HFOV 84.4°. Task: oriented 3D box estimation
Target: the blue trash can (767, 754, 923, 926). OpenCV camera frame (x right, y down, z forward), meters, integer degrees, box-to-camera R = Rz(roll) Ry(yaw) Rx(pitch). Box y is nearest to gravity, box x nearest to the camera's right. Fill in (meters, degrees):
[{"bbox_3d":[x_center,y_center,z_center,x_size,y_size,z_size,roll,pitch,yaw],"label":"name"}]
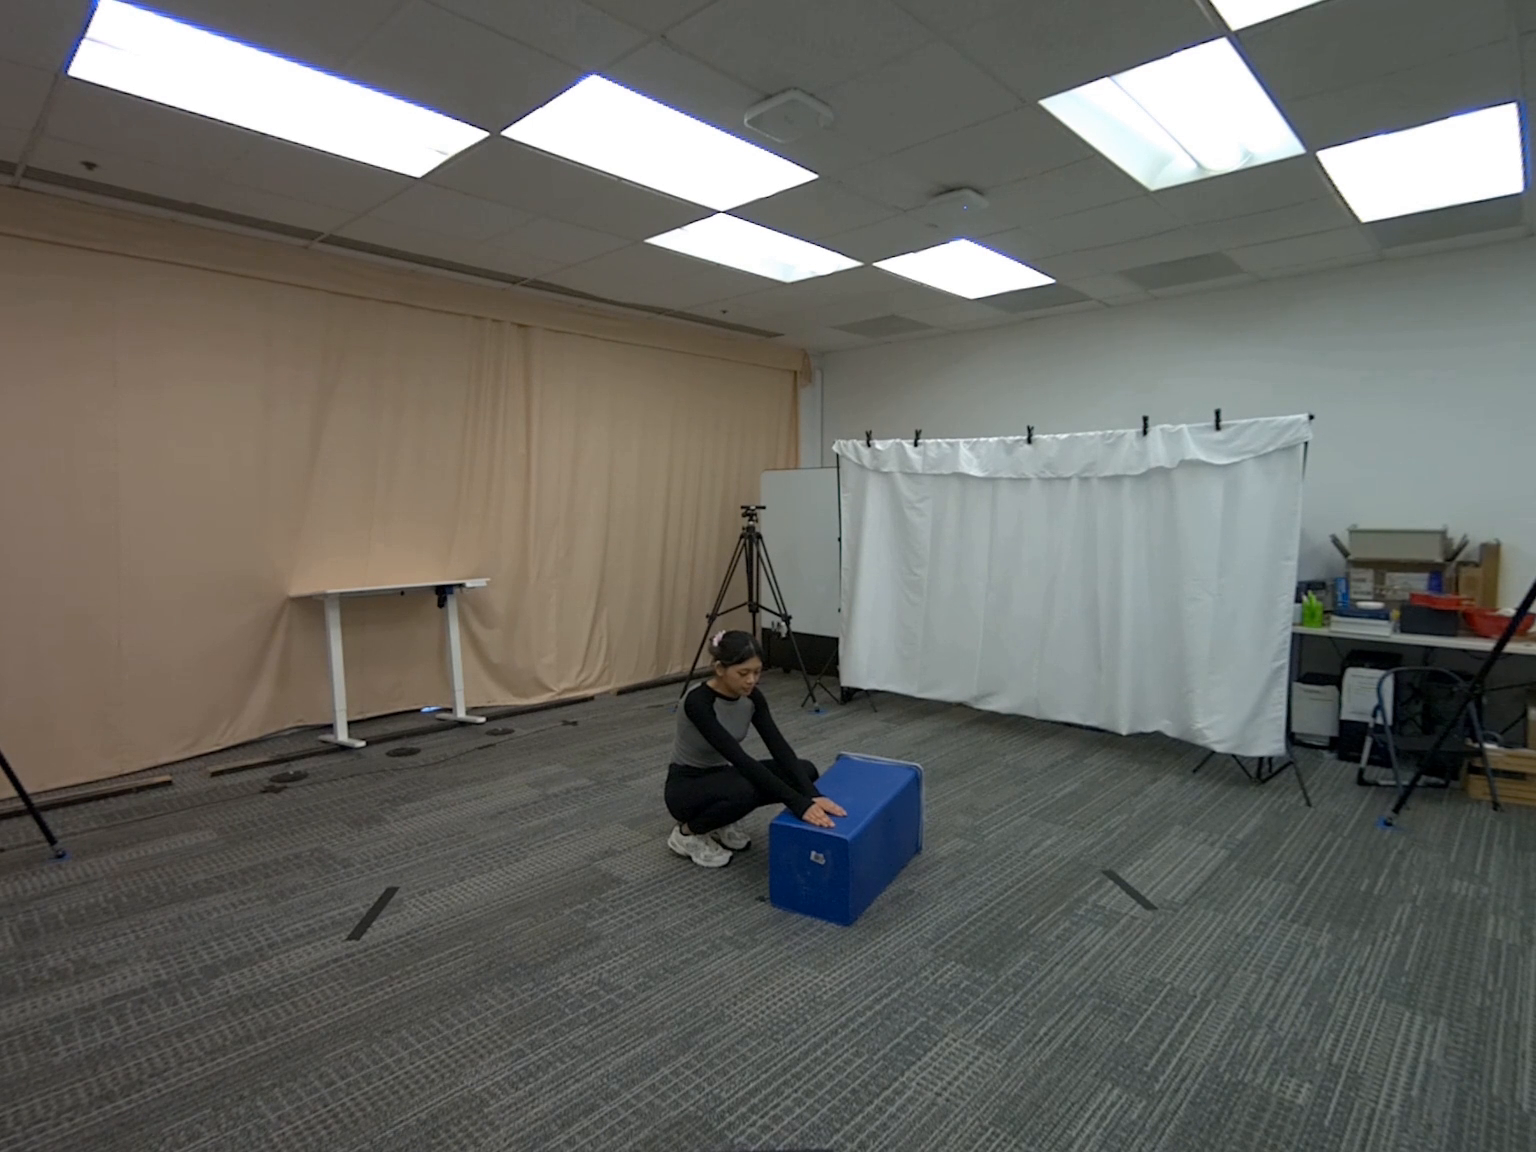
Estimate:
[{"bbox_3d":[0.299,0.960,3.144,0.385,0.376,0.696,3,8,29],"label":"blue trash can"}]
